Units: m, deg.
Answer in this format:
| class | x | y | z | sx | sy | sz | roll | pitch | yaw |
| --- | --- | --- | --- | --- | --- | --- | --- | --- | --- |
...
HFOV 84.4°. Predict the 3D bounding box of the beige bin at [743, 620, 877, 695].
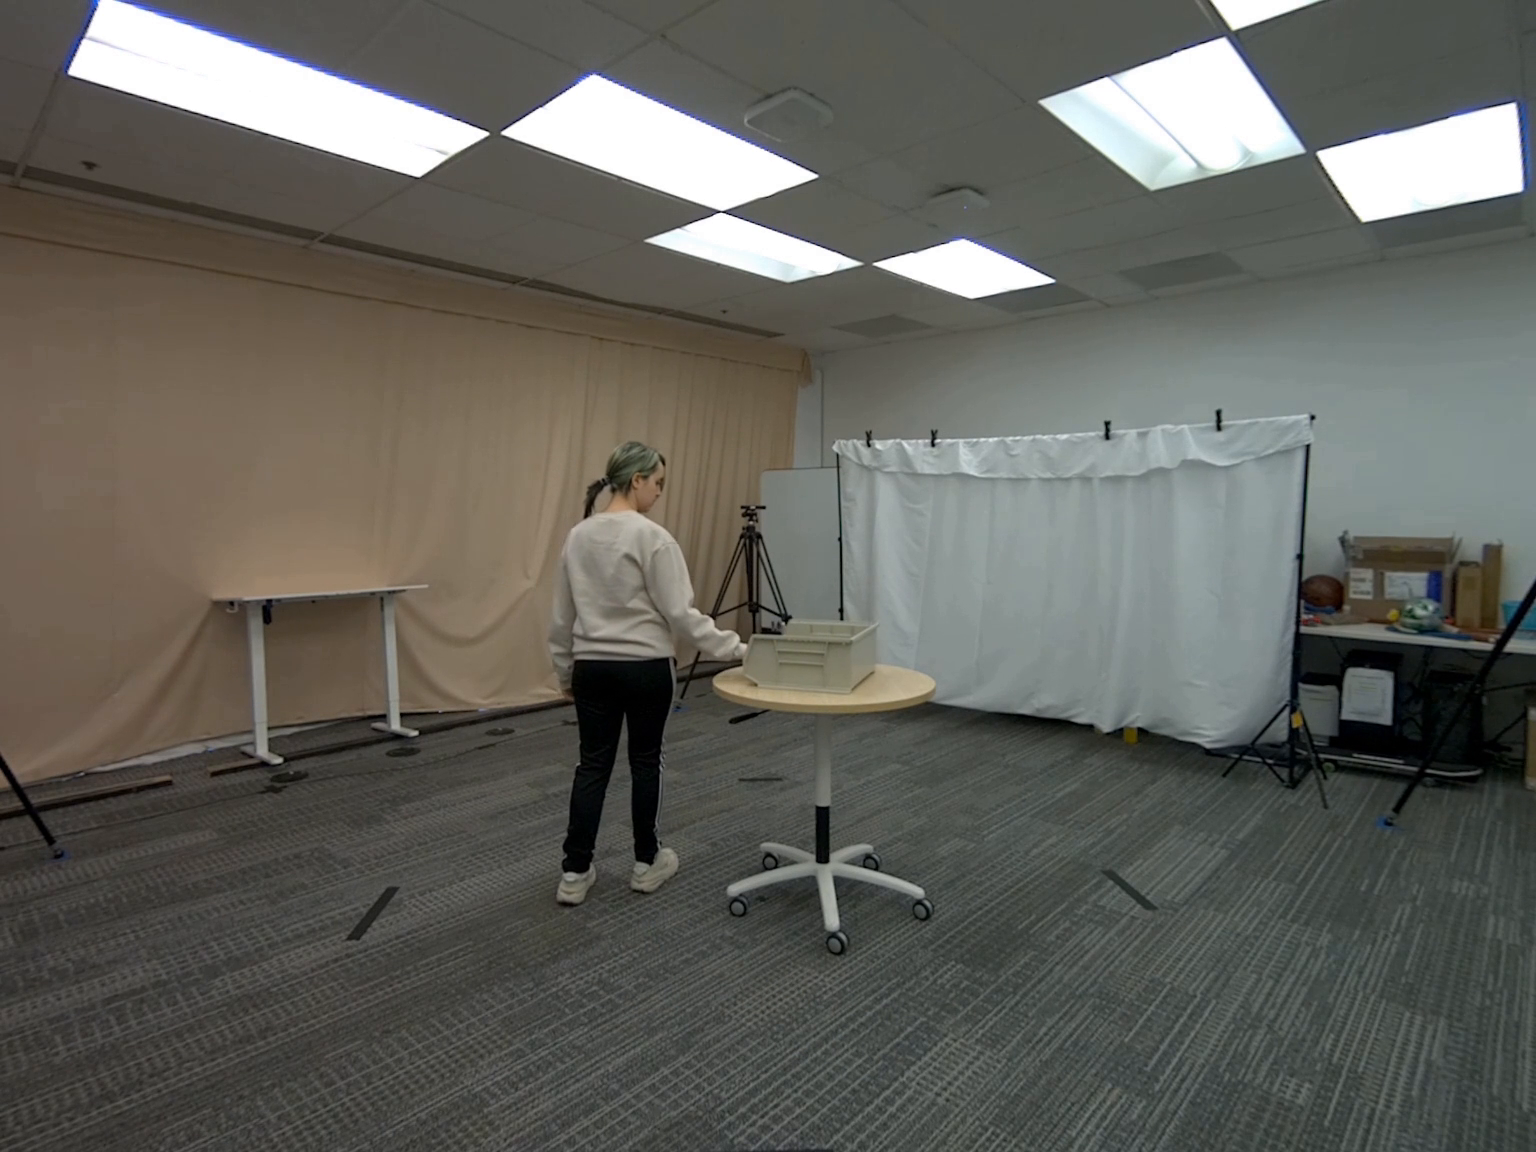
| class | x | y | z | sx | sy | sz | roll | pitch | yaw |
| --- | --- | --- | --- | --- | --- | --- | --- | --- | --- |
| beige bin | 0.163 | 0.270 | 2.943 | 0.386 | 0.188 | 0.414 | 3 | 5 | 21 |
